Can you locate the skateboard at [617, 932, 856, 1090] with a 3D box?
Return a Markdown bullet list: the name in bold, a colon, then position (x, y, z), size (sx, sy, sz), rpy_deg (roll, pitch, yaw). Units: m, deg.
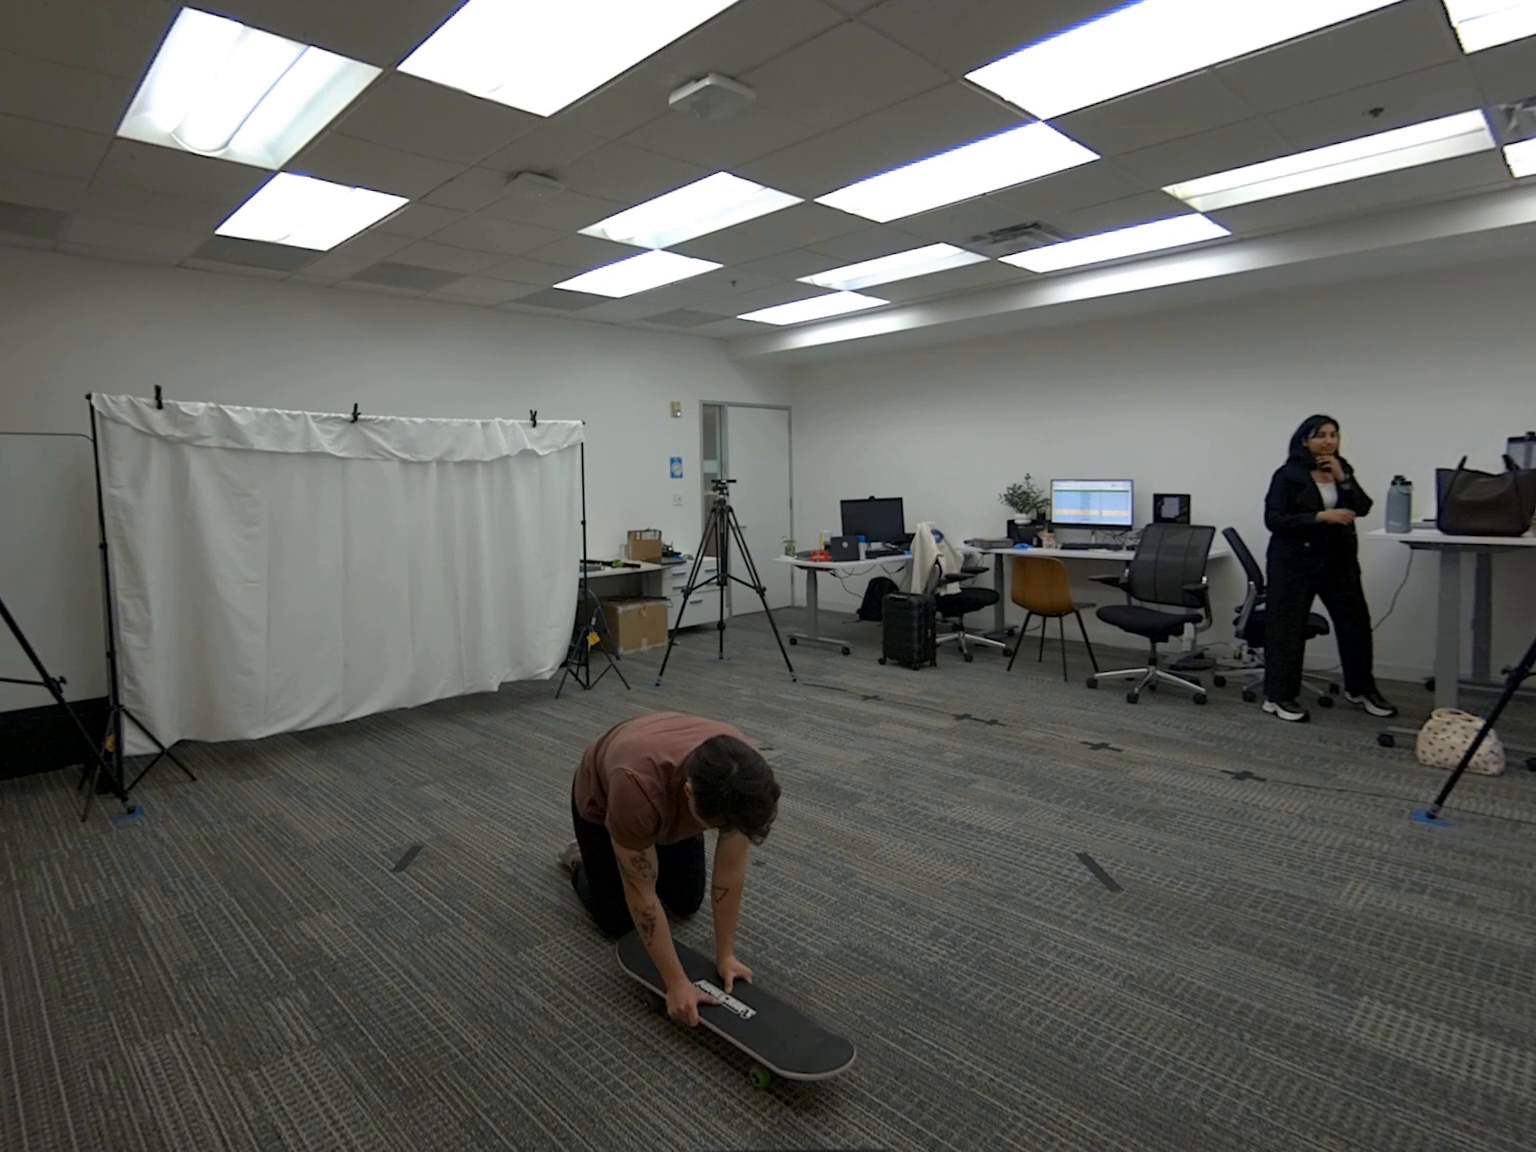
- **skateboard**: position (-0.108, 1.108, 2.166), size (0.188, 0.110, 0.809), rpy_deg (-6, 7, -44)
